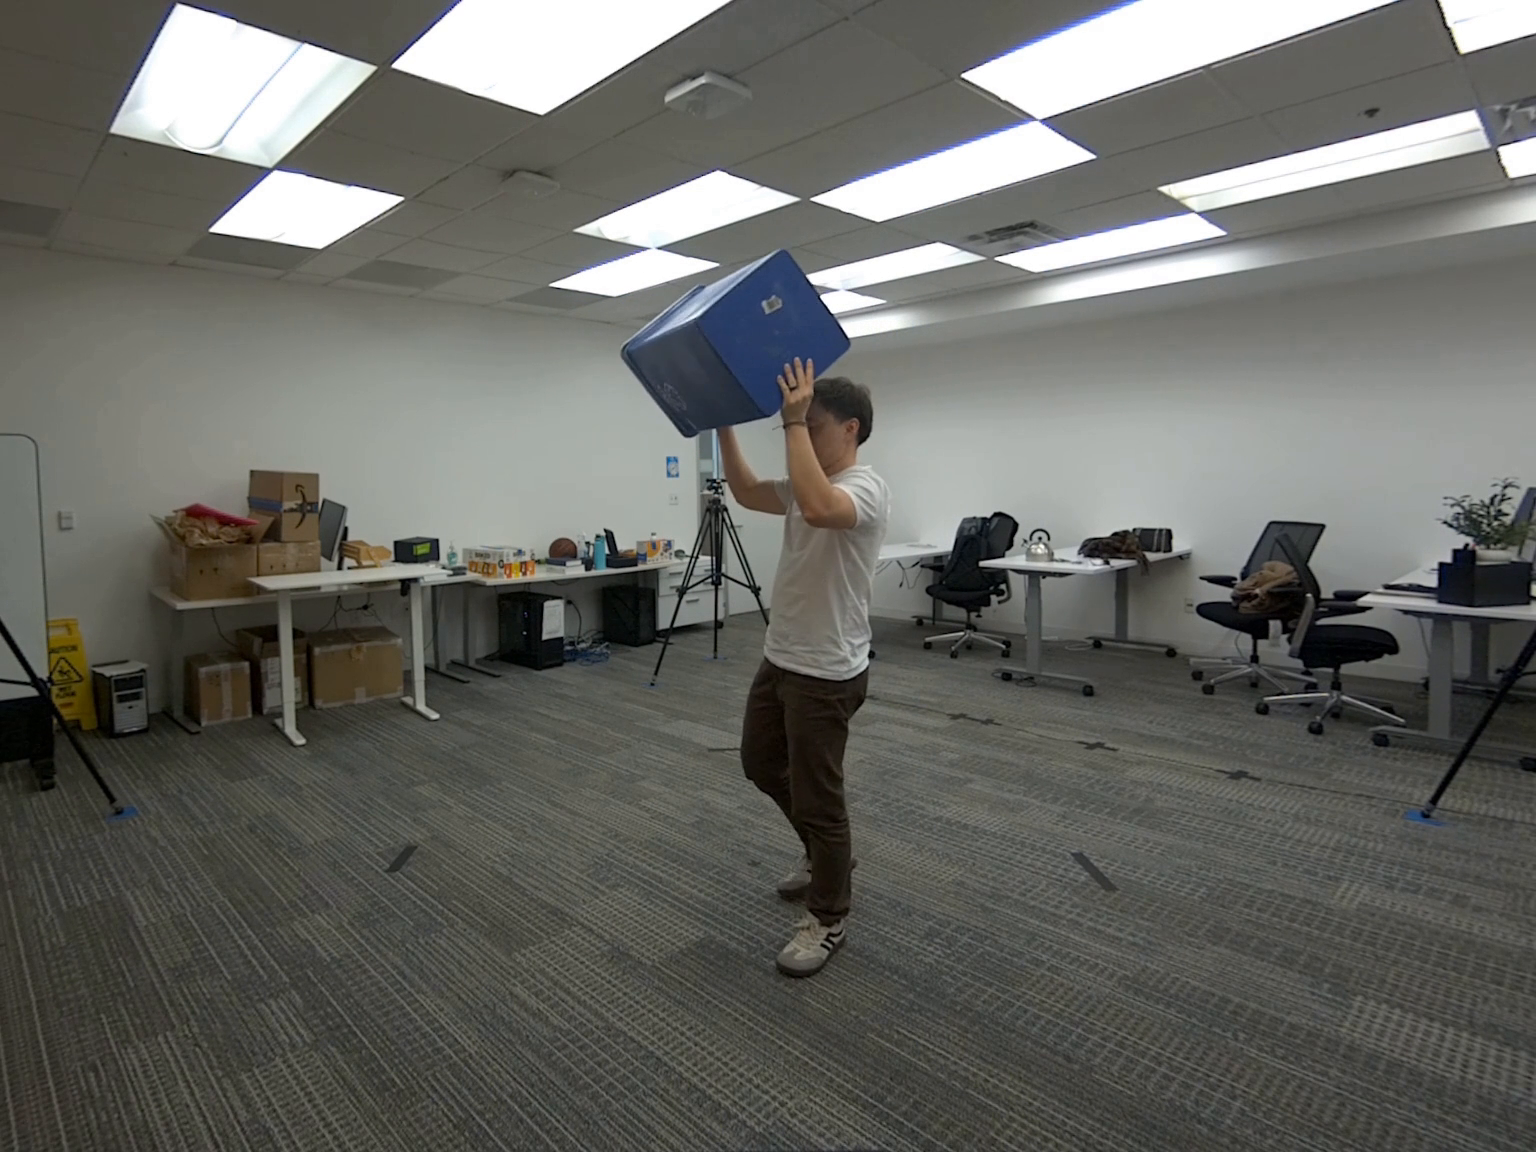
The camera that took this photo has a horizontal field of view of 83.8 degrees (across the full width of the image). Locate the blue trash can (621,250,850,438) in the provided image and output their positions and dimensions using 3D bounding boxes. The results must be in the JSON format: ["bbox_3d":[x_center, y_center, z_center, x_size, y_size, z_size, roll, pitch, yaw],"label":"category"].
[{"bbox_3d":[-0.119,-0.639,2.439,0.373,0.370,0.730,-42,18,-10],"label":"blue trash can"}]
